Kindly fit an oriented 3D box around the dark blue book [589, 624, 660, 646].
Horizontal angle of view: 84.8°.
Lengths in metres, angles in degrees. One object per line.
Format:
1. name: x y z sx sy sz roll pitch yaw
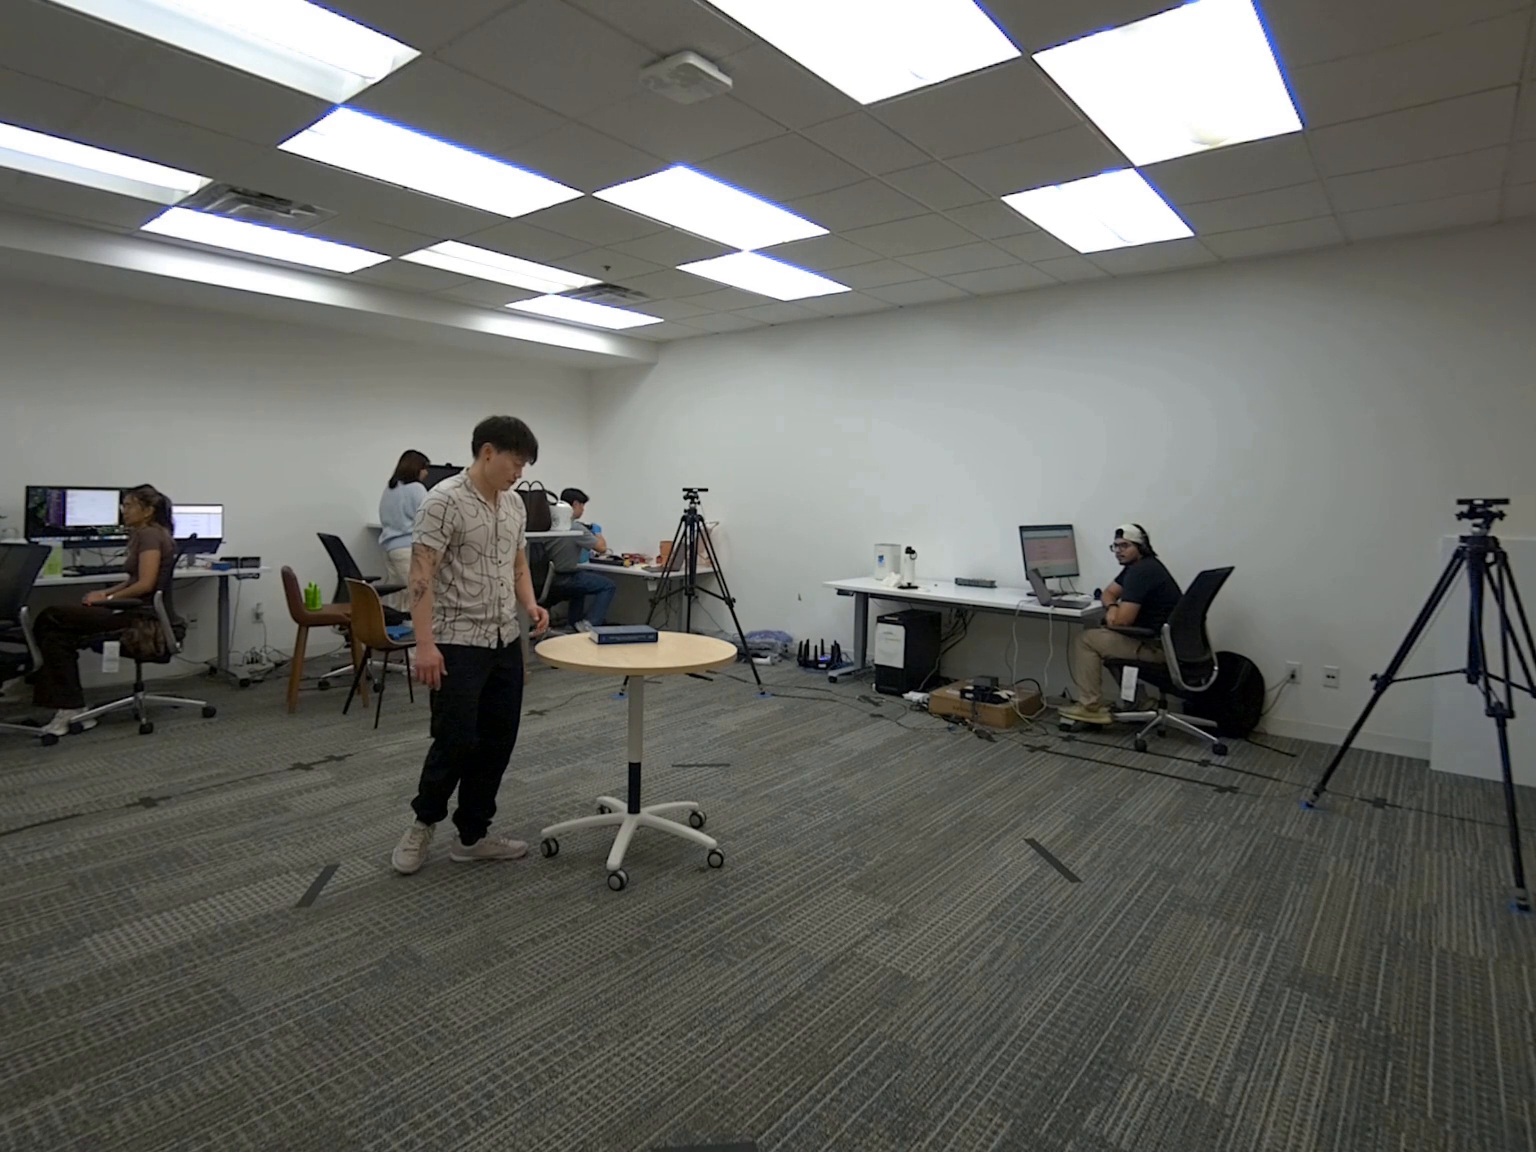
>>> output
1. dark blue book: -0.590 0.234 3.394 0.240 0.045 0.167 -1 6 -22
